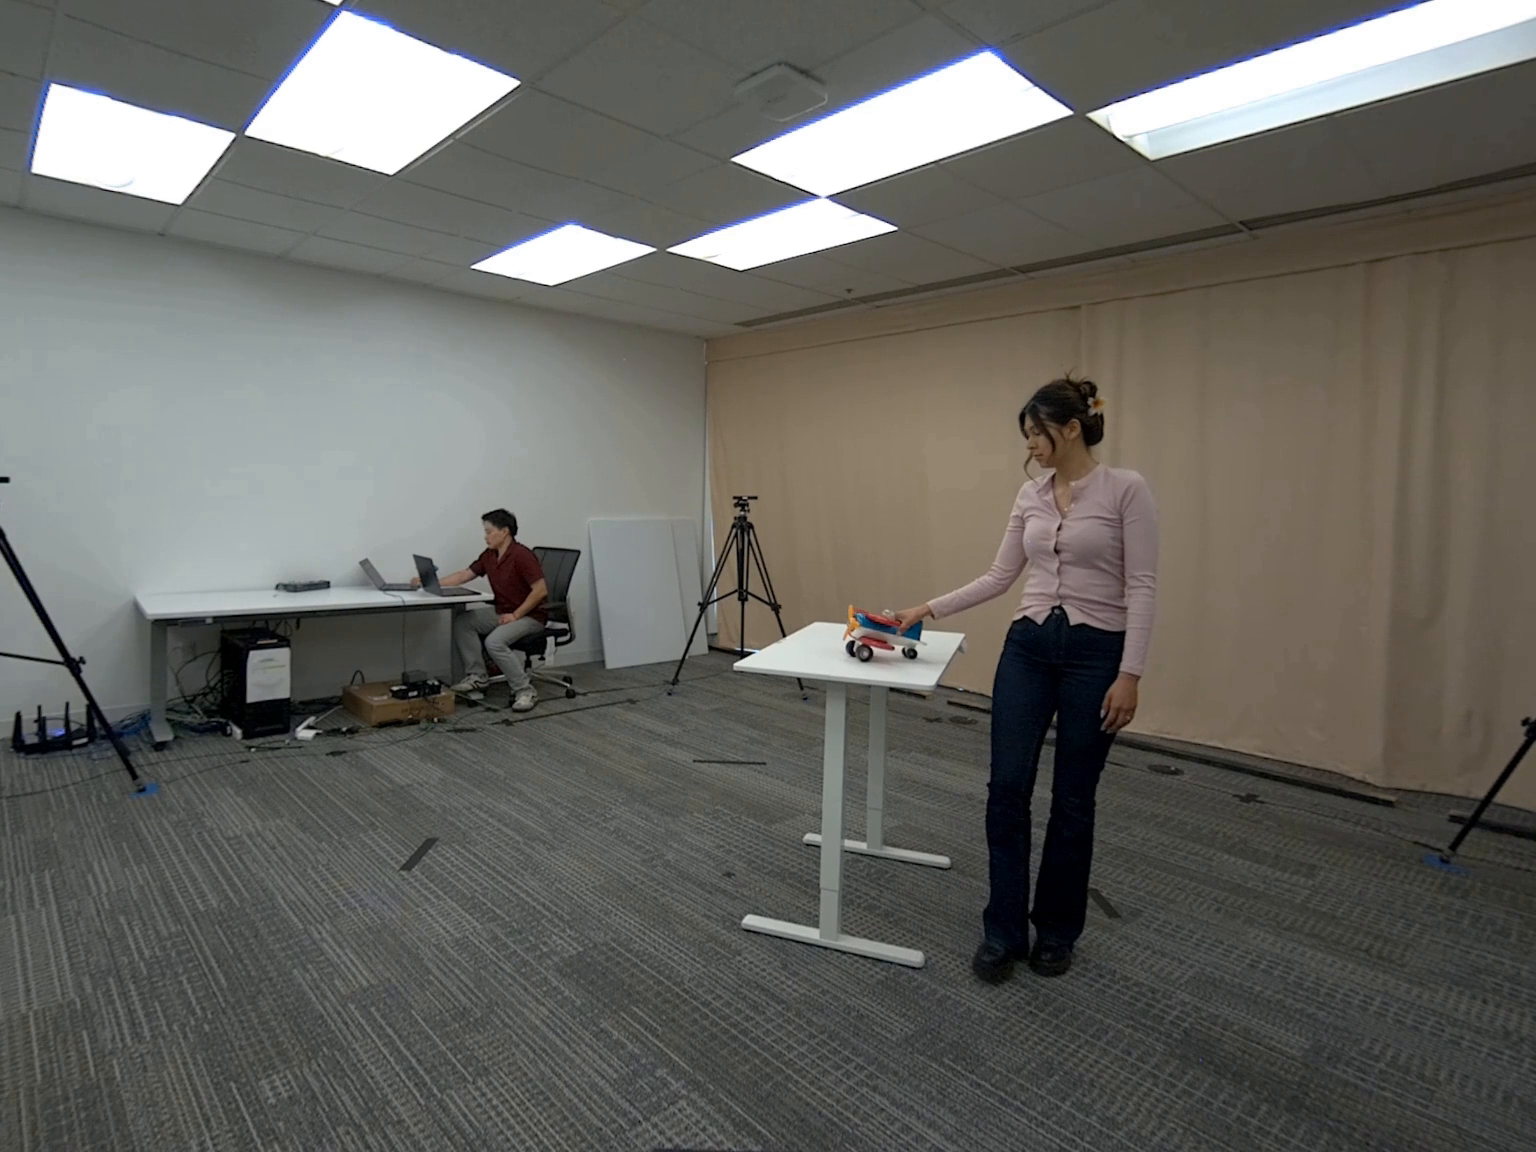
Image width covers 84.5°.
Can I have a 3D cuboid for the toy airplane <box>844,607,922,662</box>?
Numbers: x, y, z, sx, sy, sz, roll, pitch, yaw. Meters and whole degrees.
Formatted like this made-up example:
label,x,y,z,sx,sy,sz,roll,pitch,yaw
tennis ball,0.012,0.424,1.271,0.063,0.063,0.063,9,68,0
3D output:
label,x,y,z,sx,sy,sz,roll,pitch,yaw
toy airplane,0.364,0.191,2.745,0.253,0.156,0.258,-3,8,-40
